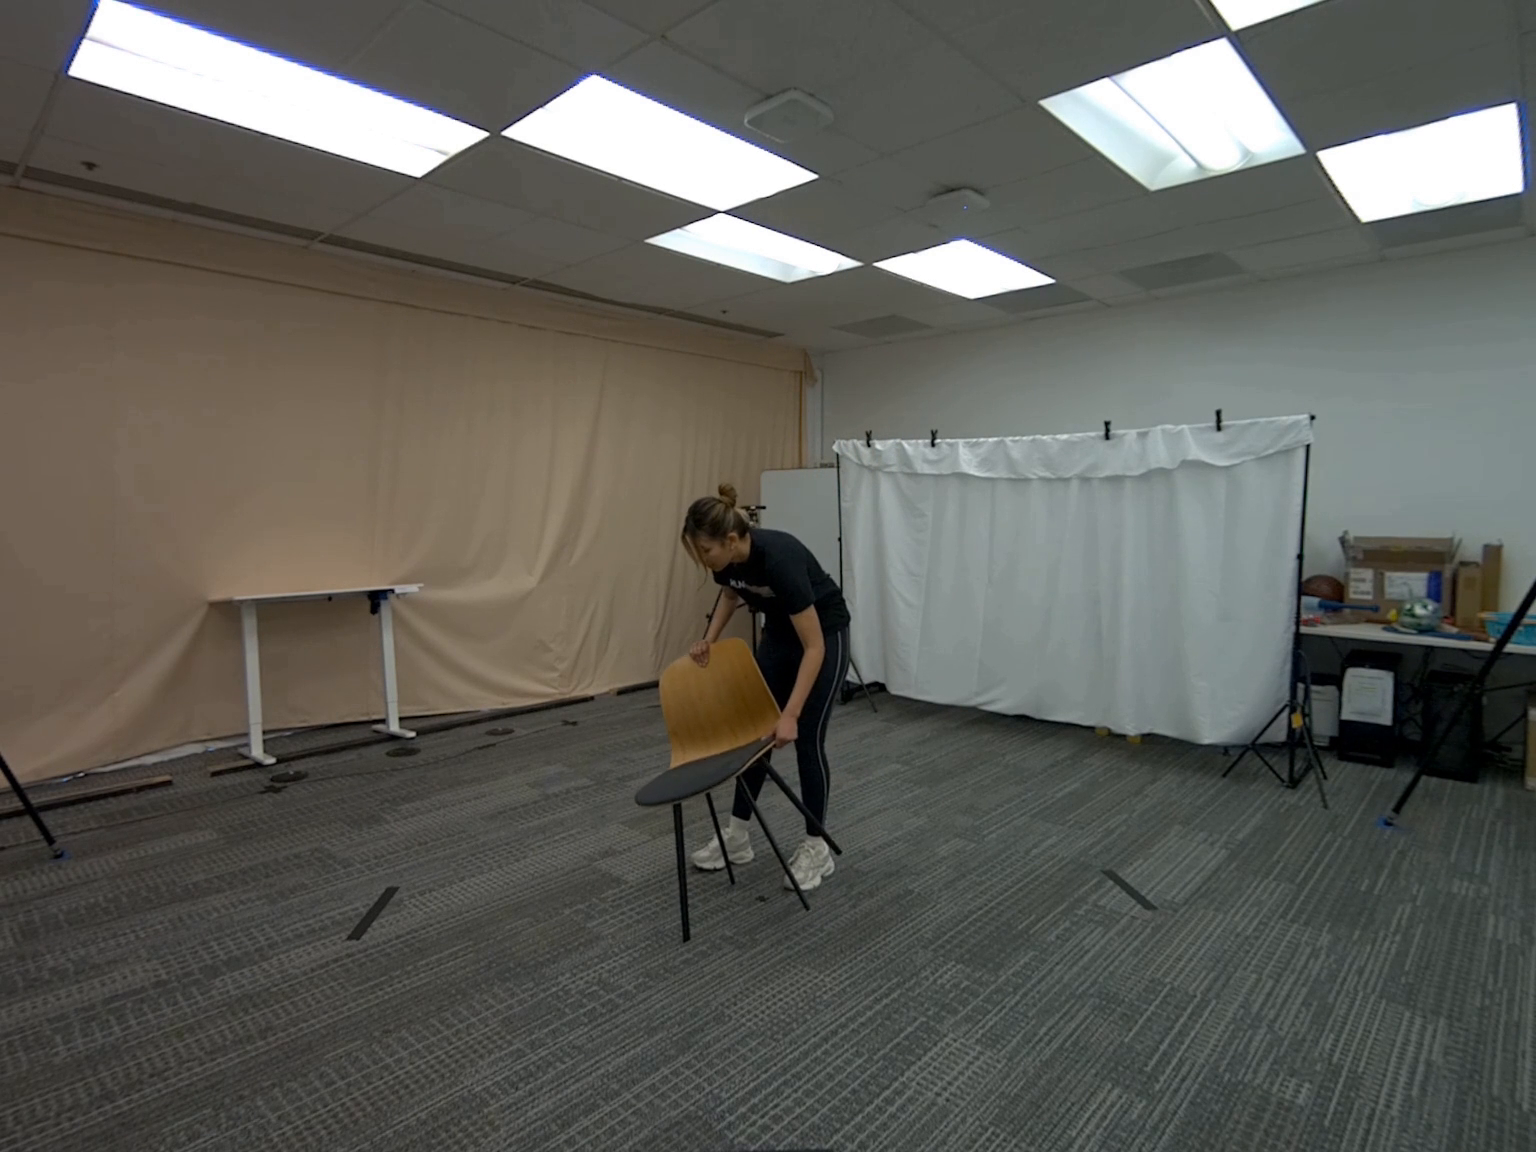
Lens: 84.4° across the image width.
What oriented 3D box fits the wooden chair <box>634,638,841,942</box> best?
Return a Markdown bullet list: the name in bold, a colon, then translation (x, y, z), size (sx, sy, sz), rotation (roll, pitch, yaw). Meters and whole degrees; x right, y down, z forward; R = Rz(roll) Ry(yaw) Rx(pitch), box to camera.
- **wooden chair**: translation (-0.161, 0.677, 2.837), size (0.485, 0.885, 0.511), rotation (-23, -9, 19)
